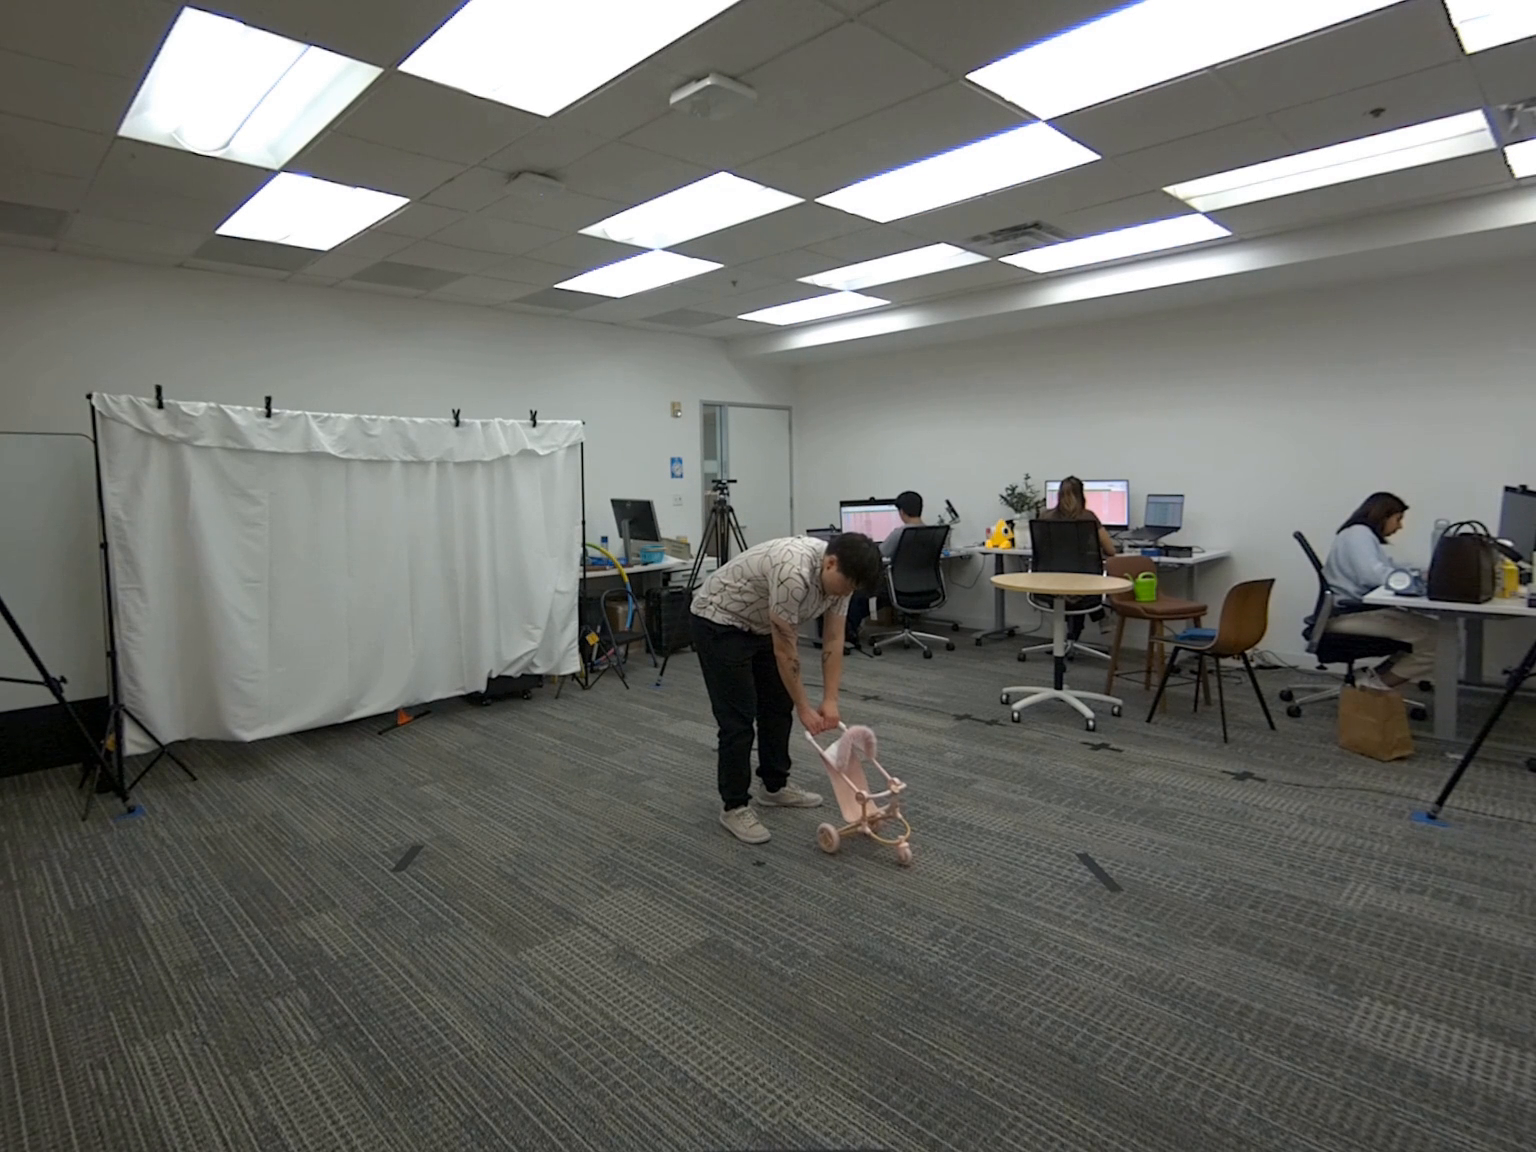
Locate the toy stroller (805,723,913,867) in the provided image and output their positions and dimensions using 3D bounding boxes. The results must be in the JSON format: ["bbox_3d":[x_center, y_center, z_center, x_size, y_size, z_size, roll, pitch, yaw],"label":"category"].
[{"bbox_3d":[0.353,0.803,3.213,0.274,0.541,0.347,-4,-11,-38],"label":"toy stroller"}]
